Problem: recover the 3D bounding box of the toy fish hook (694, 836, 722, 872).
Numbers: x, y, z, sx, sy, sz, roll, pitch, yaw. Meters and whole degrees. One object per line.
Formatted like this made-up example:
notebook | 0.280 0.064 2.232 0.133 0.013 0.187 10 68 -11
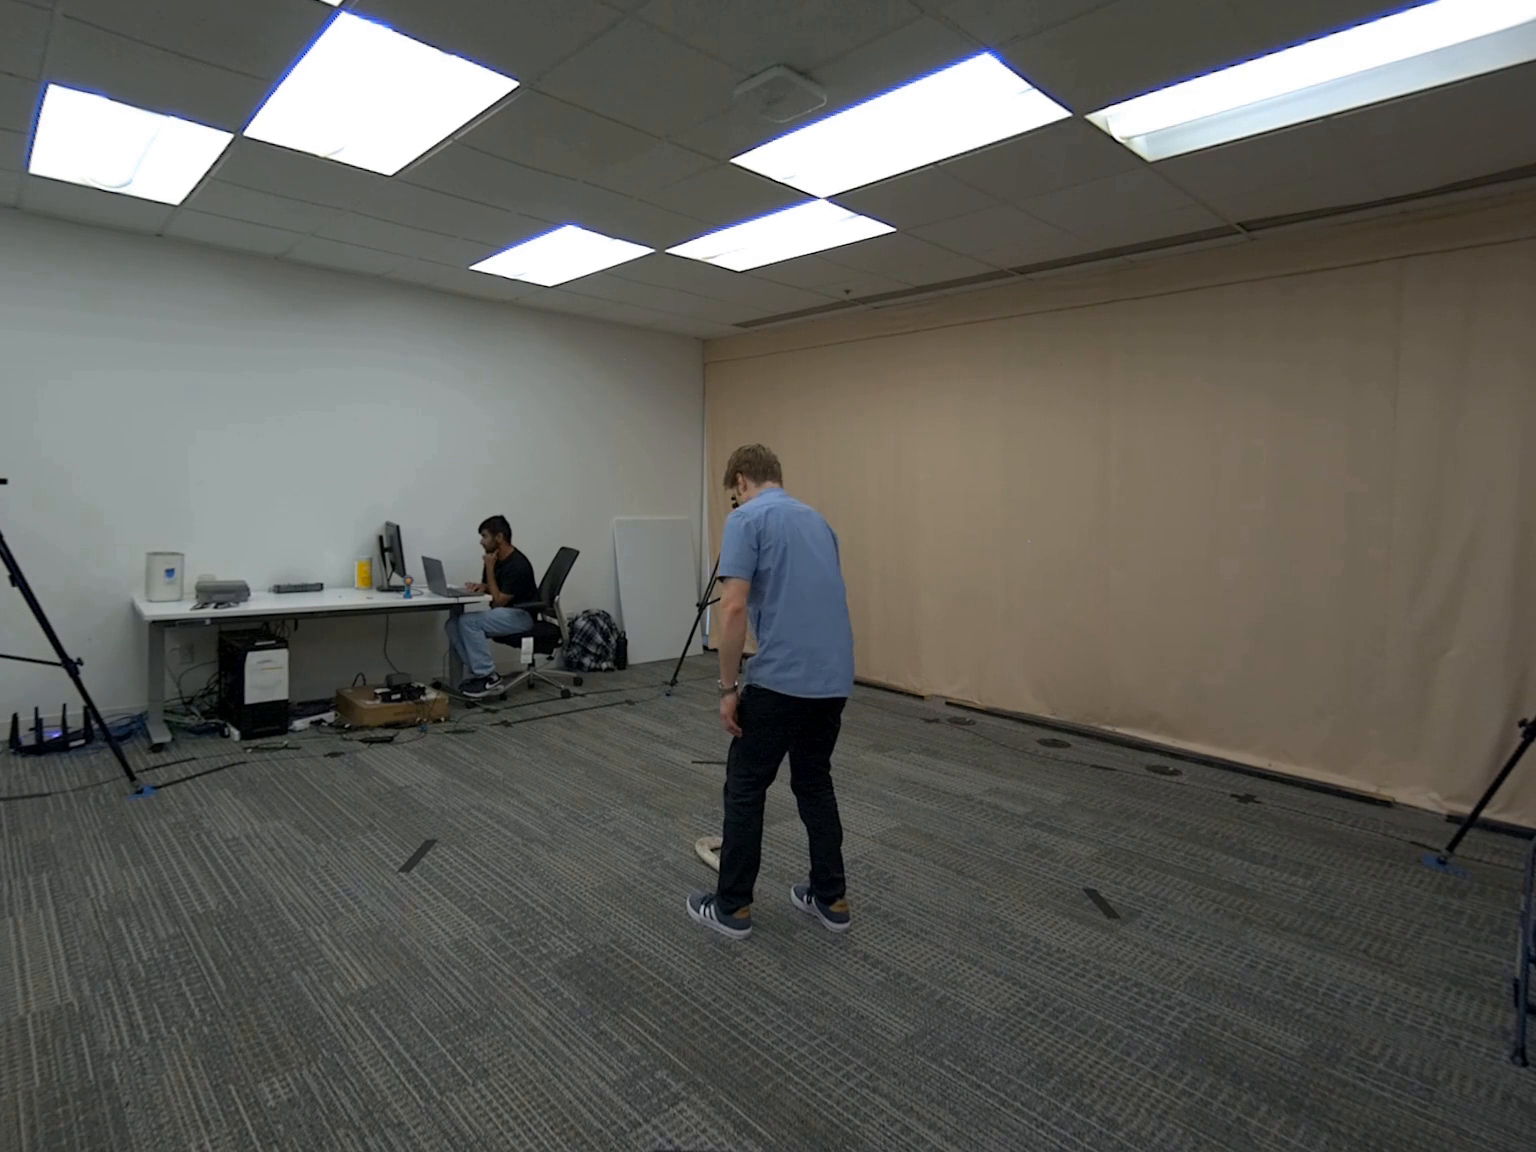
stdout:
toy fish hook | -0.132 1.084 3.148 0.222 0.048 0.515 0 6 -18
